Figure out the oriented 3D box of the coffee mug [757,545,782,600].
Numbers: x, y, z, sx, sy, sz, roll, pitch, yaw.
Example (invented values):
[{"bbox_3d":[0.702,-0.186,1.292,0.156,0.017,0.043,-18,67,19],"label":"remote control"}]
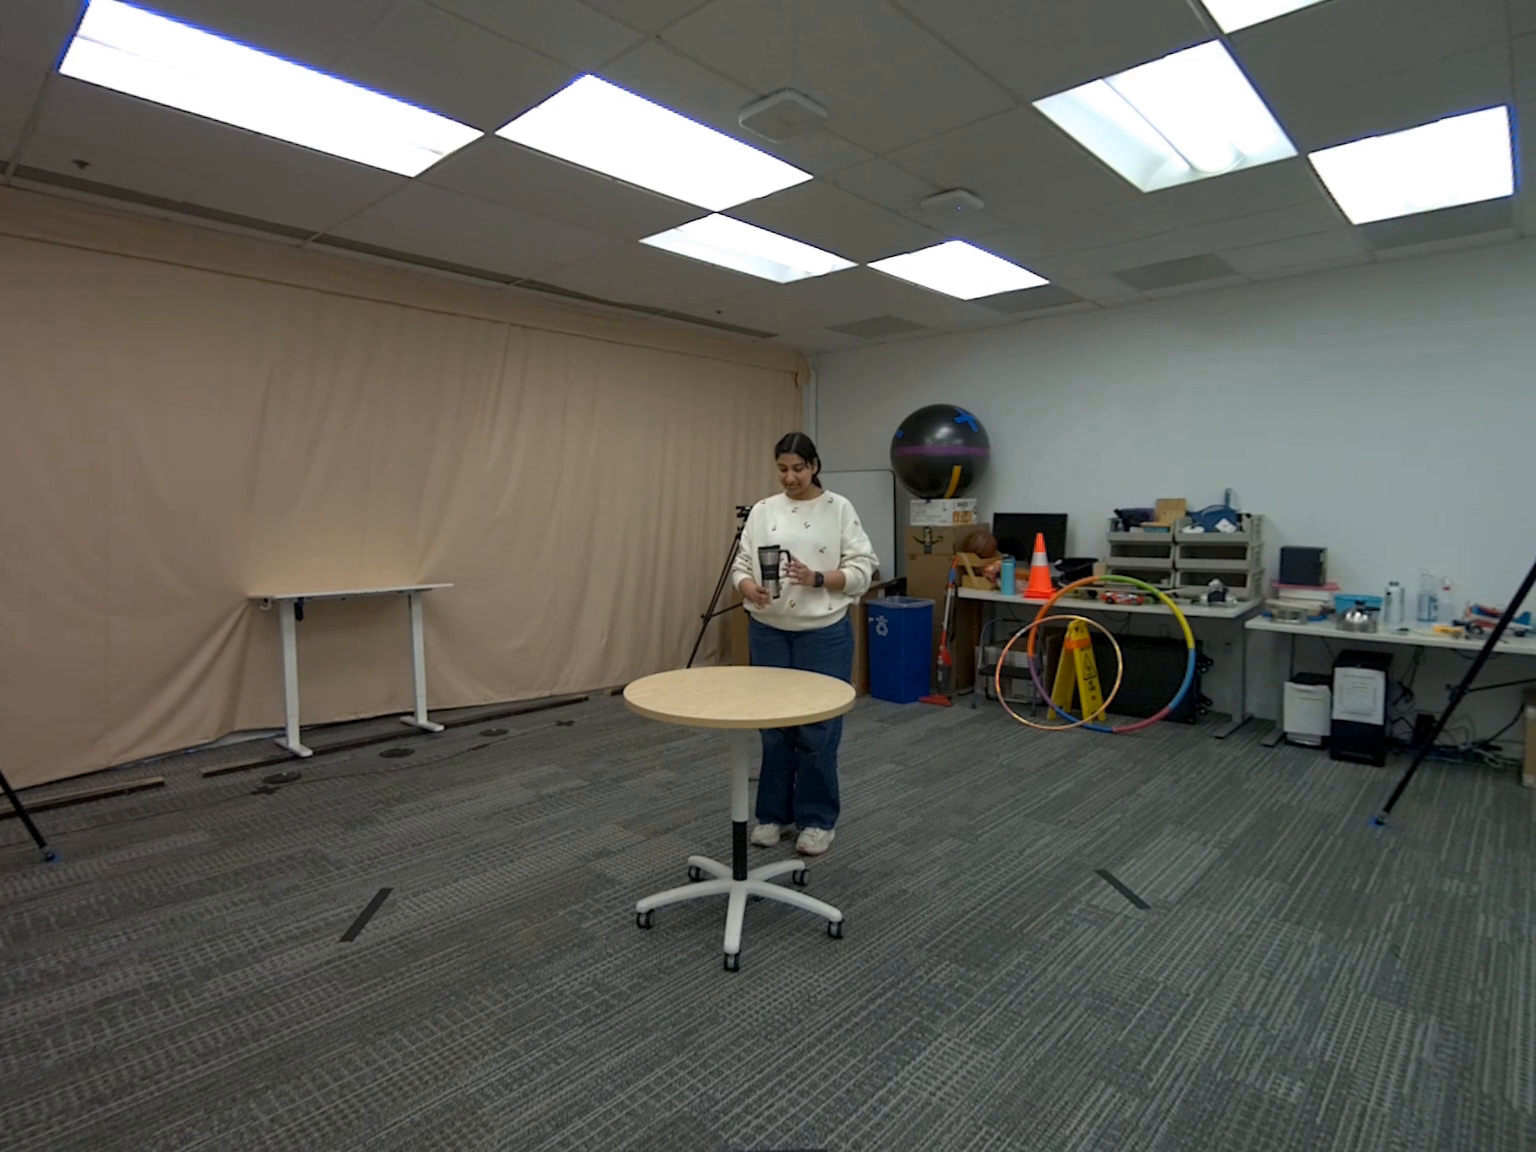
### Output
[{"bbox_3d":[0.035,-0.015,3.182,0.126,0.202,0.085,-1,4,39],"label":"coffee mug"}]
